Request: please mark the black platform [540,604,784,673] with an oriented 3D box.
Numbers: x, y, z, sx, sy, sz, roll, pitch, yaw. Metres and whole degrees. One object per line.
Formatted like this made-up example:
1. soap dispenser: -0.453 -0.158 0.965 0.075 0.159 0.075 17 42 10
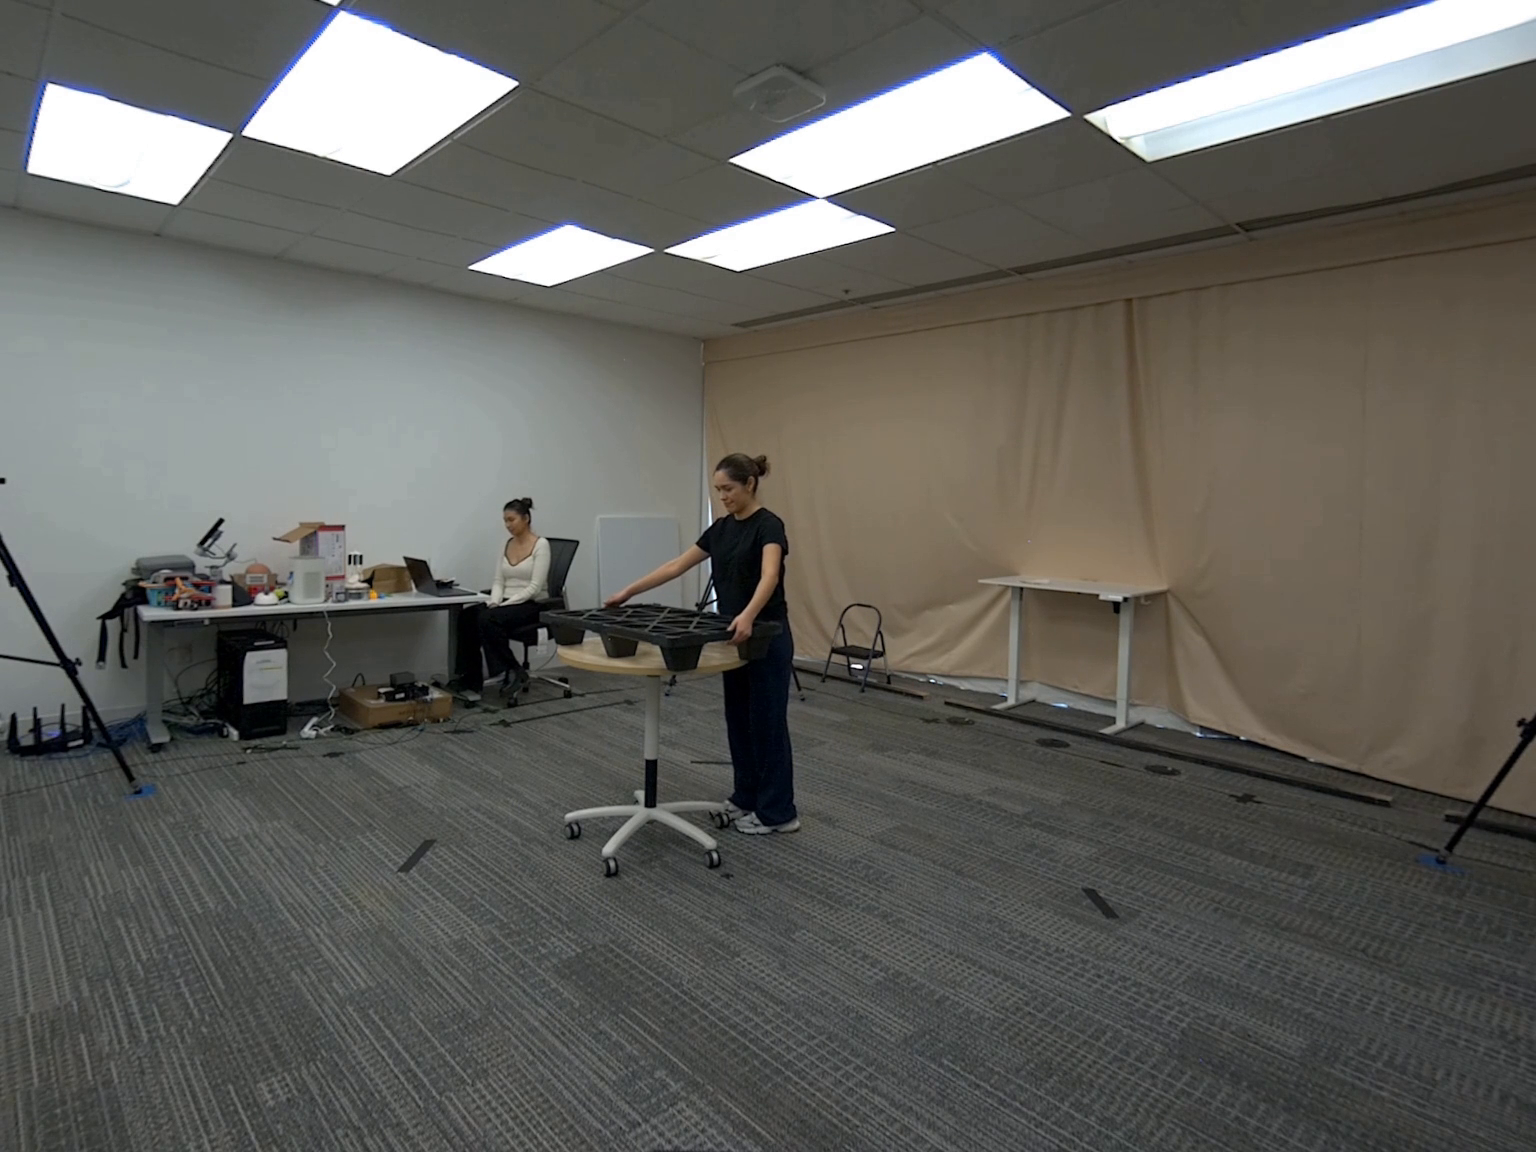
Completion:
1. black platform: -0.443 0.233 3.326 0.826 0.143 0.591 6 7 42
